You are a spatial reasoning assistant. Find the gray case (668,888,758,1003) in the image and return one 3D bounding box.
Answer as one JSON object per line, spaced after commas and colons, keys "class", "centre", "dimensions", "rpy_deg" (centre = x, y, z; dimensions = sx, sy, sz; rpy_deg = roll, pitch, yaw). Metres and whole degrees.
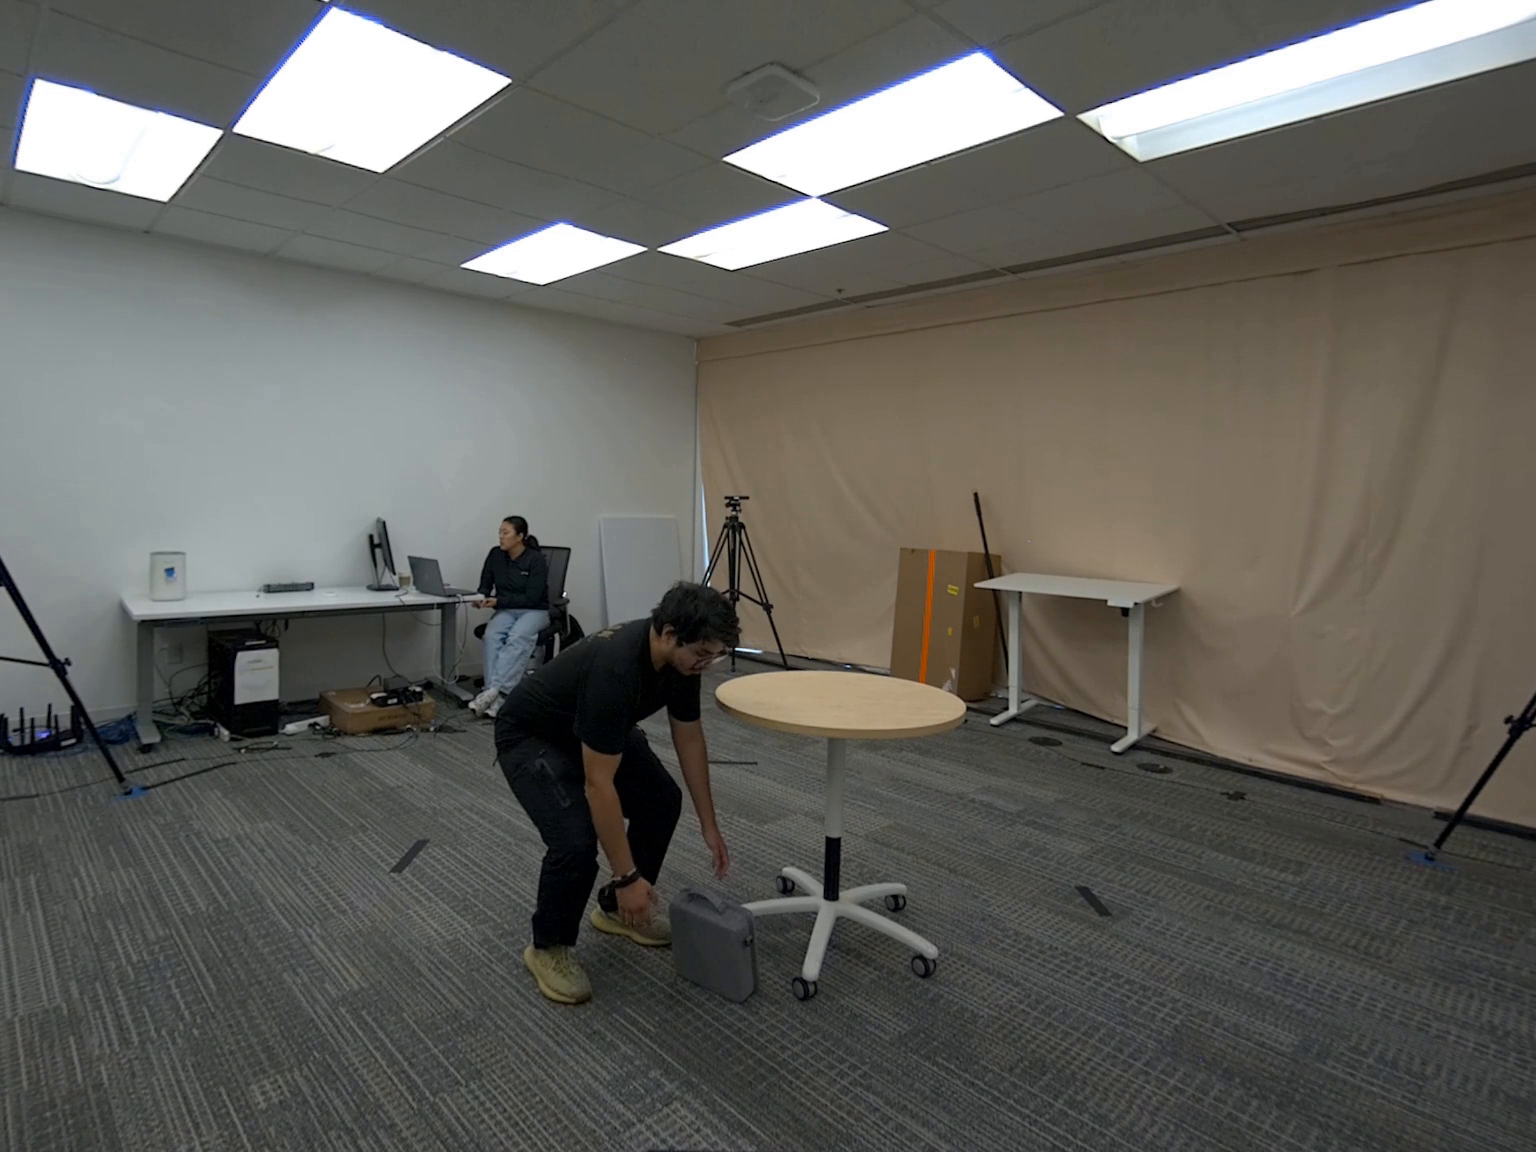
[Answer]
{"class": "gray case", "centre": [-0.156, 1.041, 2.382], "dimensions": [0.263, 0.258, 0.102], "rpy_deg": [6, 14, 37]}
